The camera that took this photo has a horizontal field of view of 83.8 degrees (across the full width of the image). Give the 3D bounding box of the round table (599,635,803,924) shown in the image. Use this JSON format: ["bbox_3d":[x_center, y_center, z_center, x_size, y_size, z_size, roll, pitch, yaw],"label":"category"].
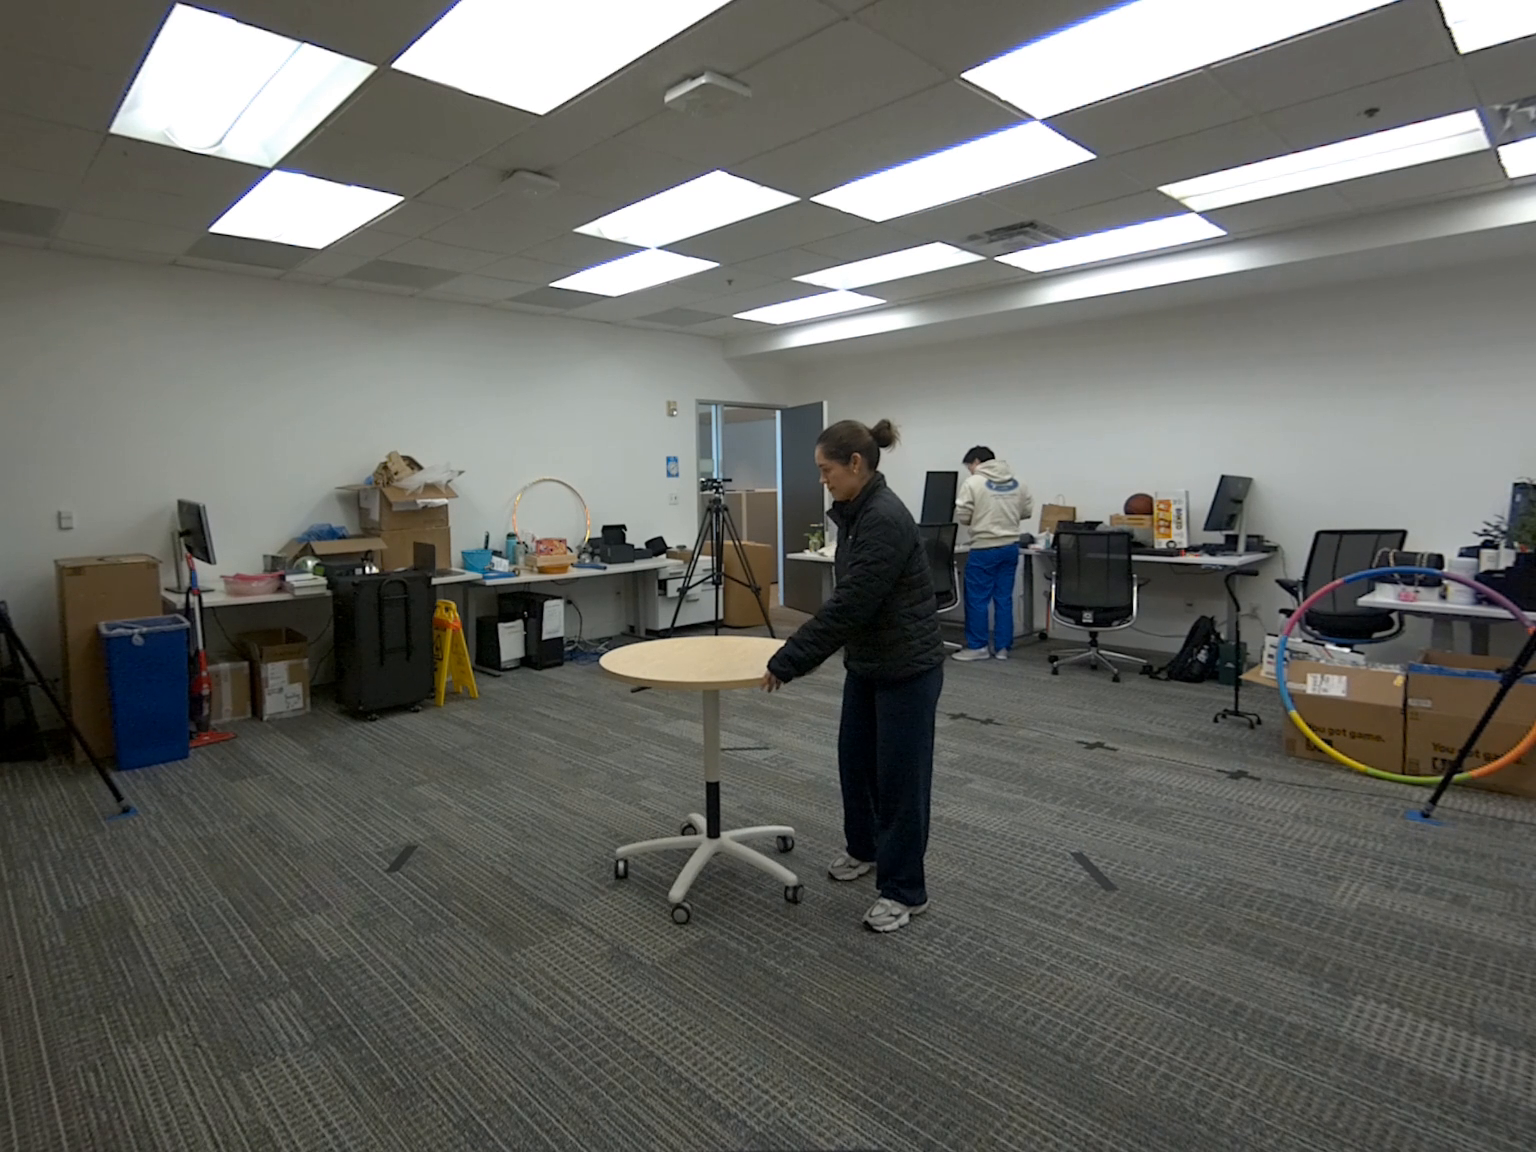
[{"bbox_3d":[-0.195,0.663,3.024,0.784,0.783,0.789,-1,5,-2],"label":"round table"}]
